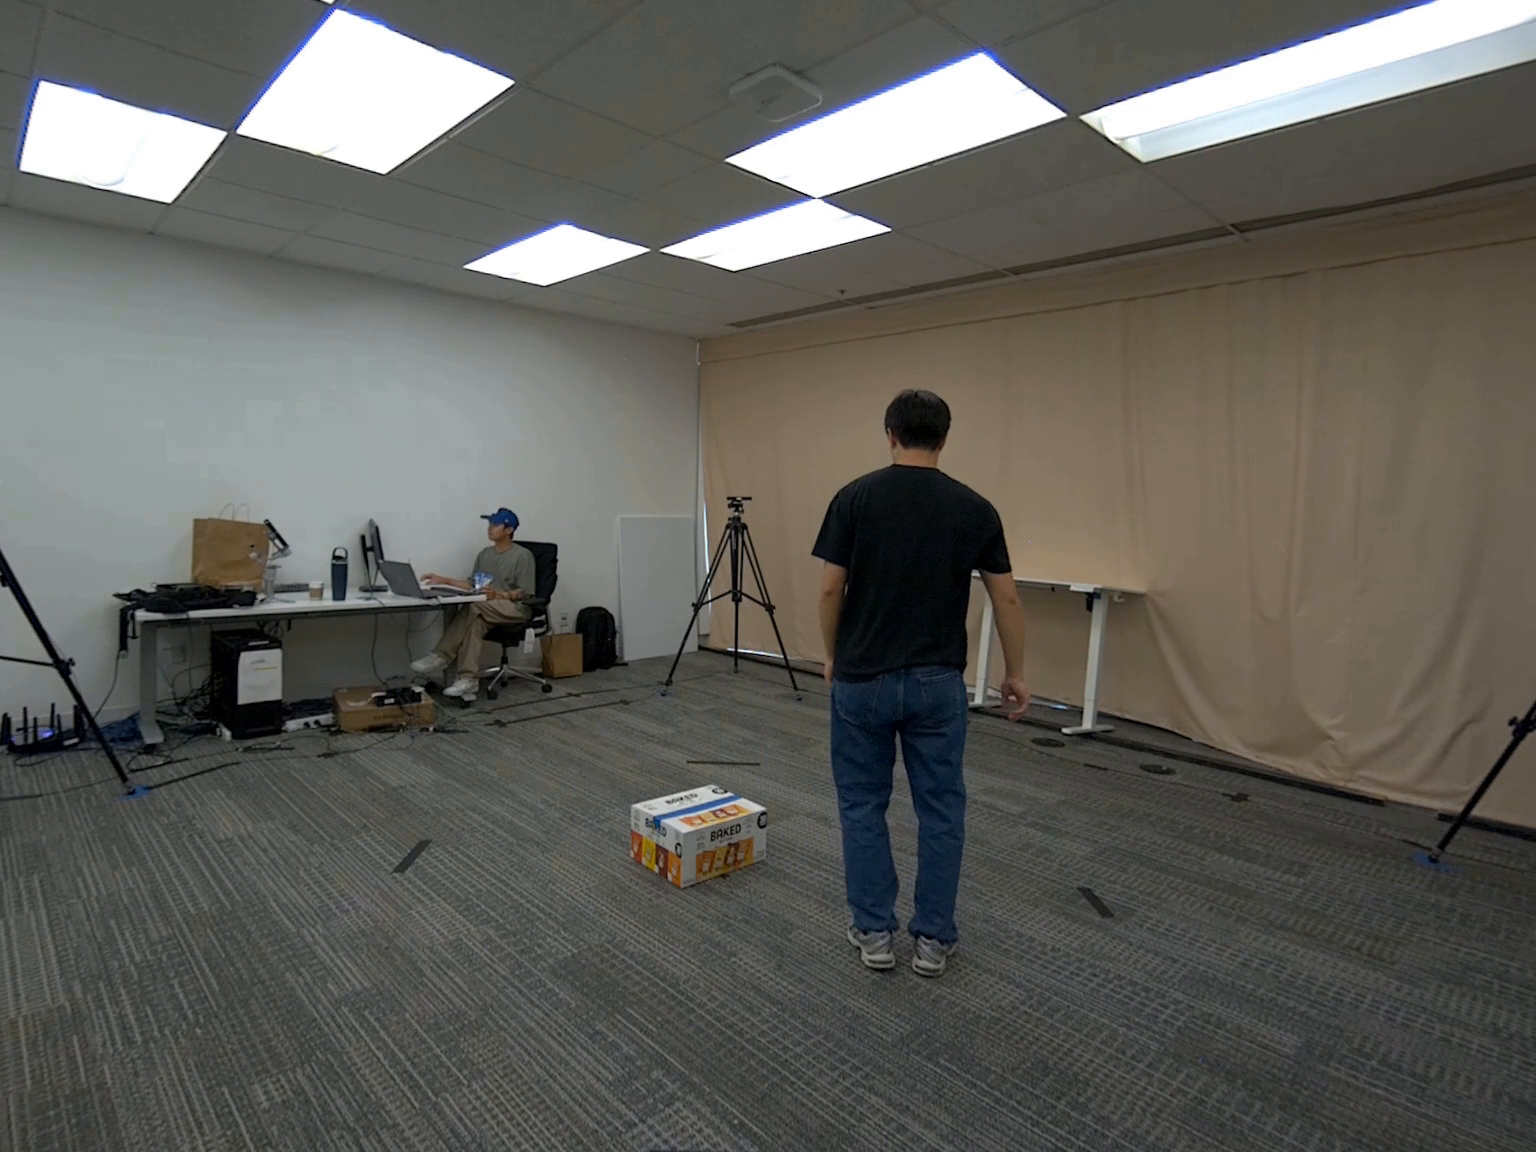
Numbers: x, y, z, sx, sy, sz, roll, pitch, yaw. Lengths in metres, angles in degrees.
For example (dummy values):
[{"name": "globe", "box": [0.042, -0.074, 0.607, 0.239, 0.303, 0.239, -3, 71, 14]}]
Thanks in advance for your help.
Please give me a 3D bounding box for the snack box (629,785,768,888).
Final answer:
[{"name": "snack box", "box": [-0.271, 0.992, 3.238, 0.396, 0.205, 0.349, -3, 6, -41]}]
